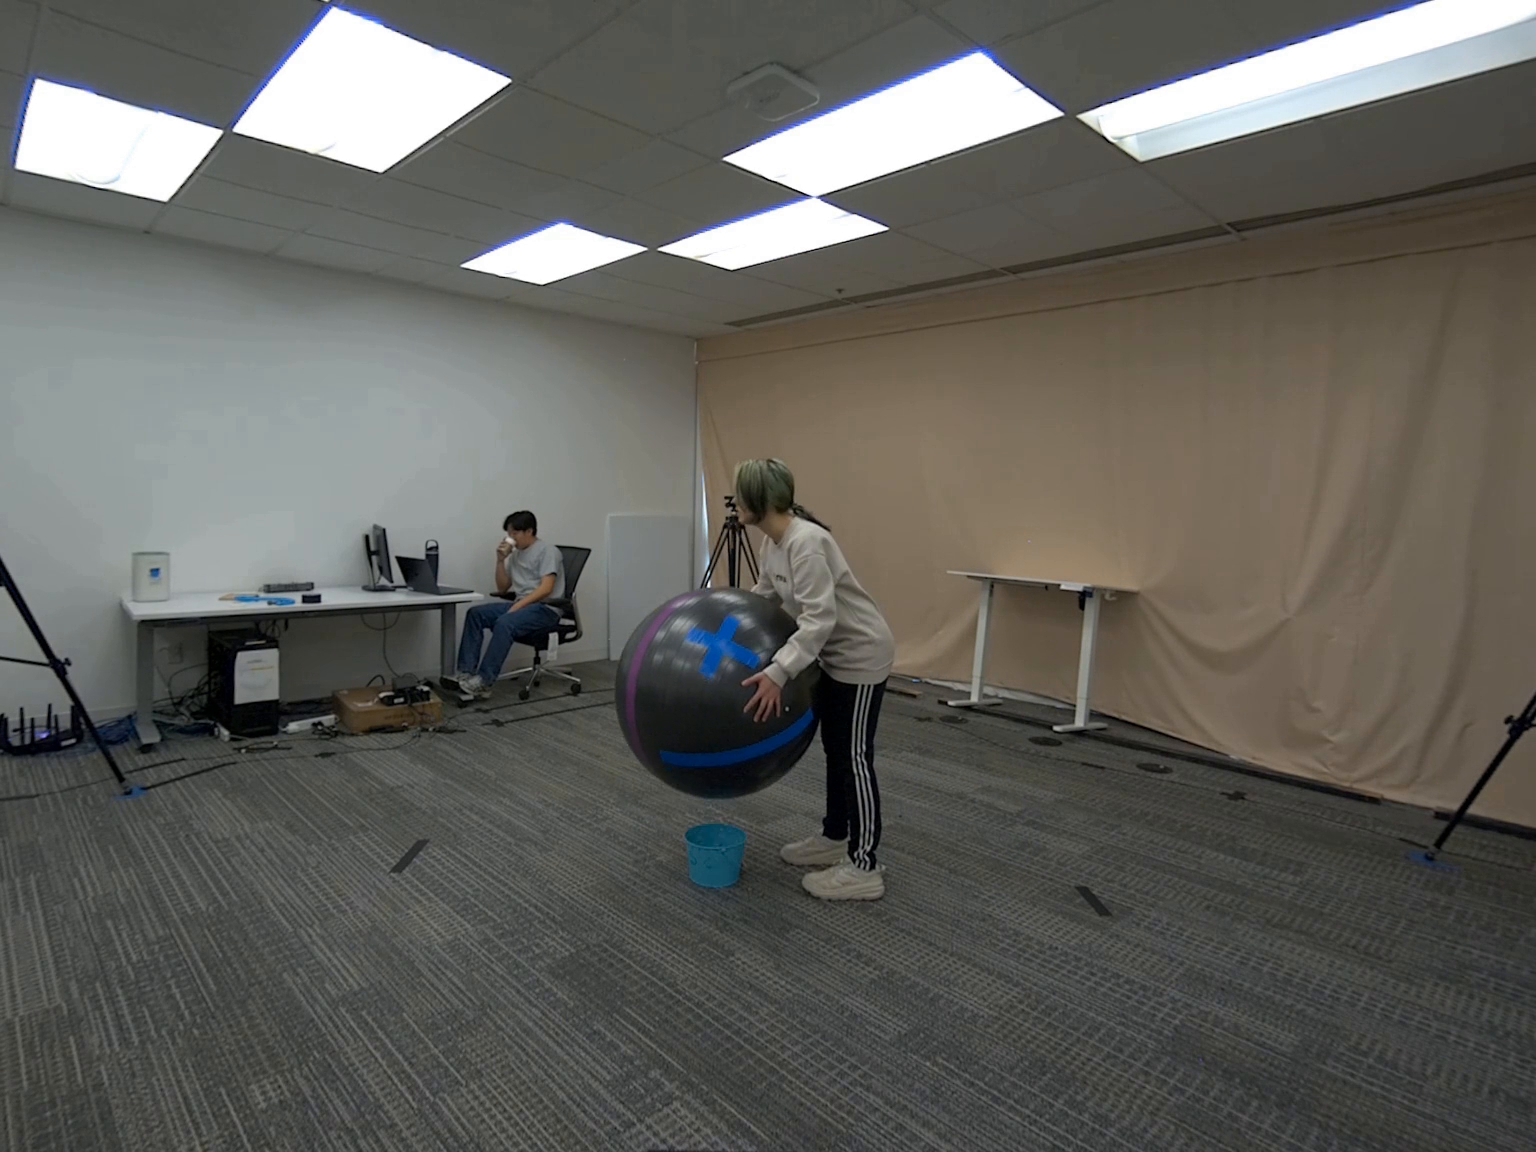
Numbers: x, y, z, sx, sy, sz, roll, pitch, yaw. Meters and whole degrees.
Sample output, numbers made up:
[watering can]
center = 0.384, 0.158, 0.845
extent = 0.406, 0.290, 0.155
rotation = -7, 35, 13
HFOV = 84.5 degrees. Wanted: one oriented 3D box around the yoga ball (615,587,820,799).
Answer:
[yoga ball]
center = -0.191, 0.421, 3.077
extent = 0.757, 0.756, 0.761
rotation = 1, 4, -1
